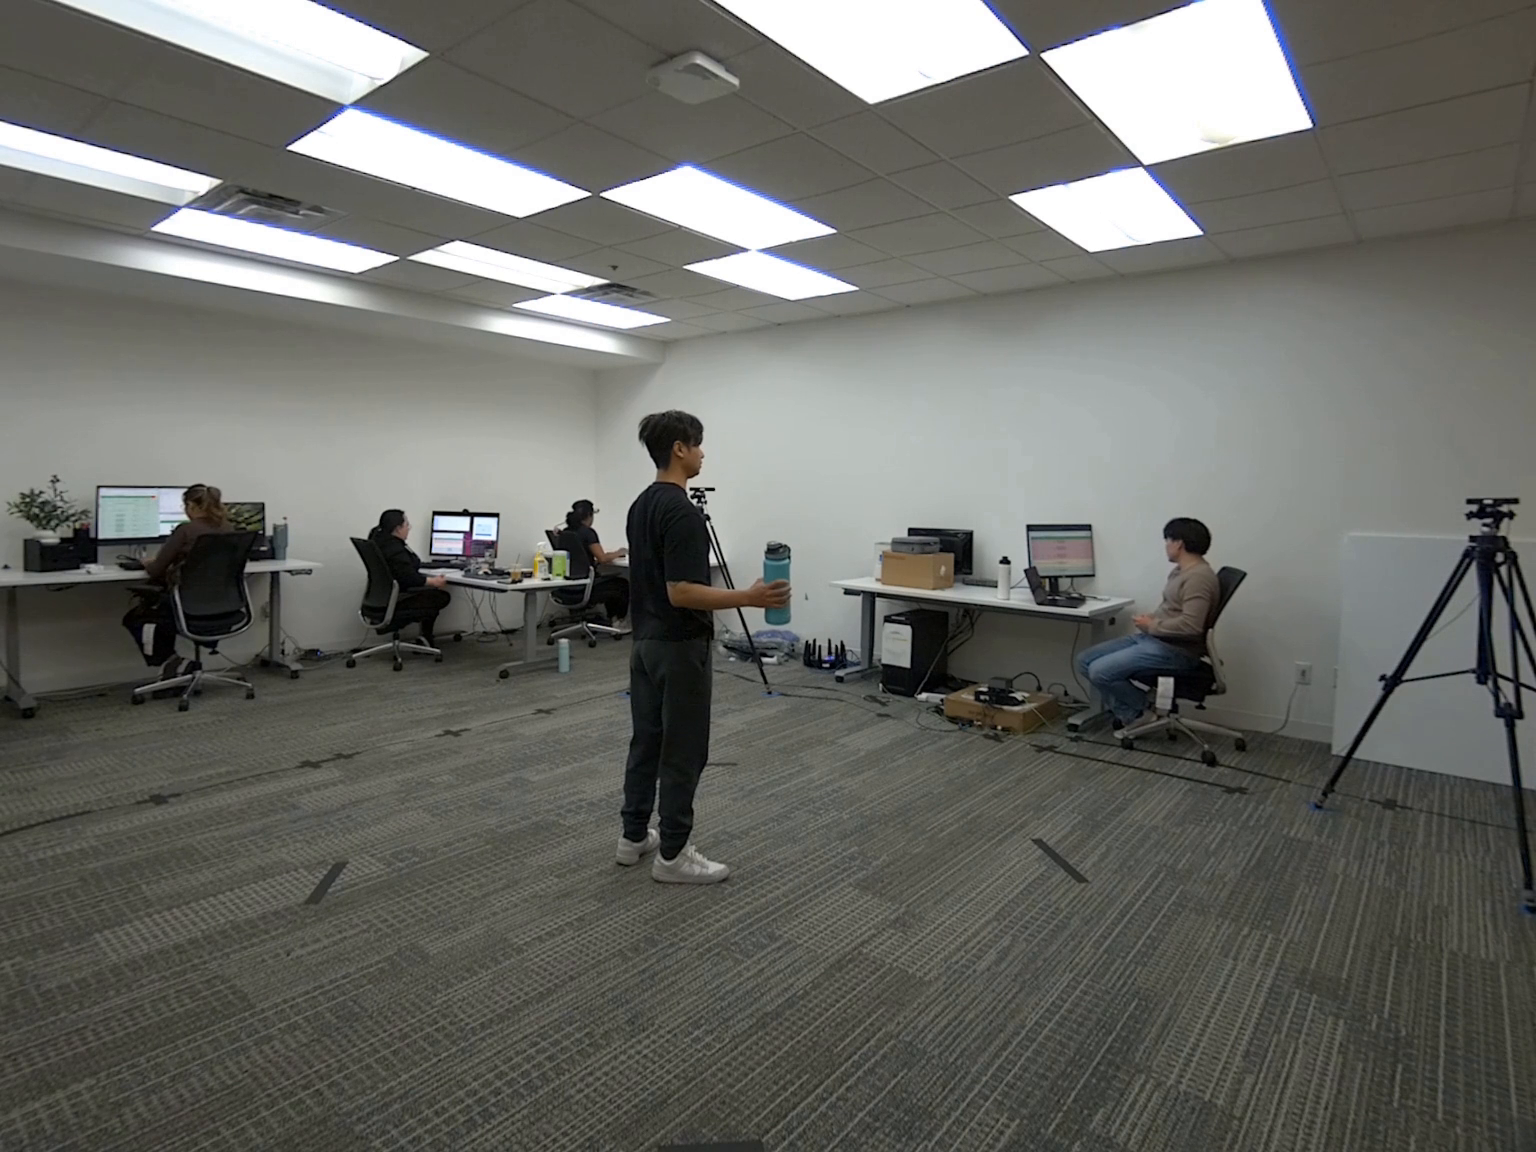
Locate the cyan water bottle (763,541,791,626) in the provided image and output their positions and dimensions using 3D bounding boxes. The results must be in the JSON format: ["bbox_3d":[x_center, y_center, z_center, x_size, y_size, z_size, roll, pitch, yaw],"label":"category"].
[{"bbox_3d":[0.023,0.017,2.867,0.092,0.280,0.093,0,12,-2],"label":"cyan water bottle"}]
